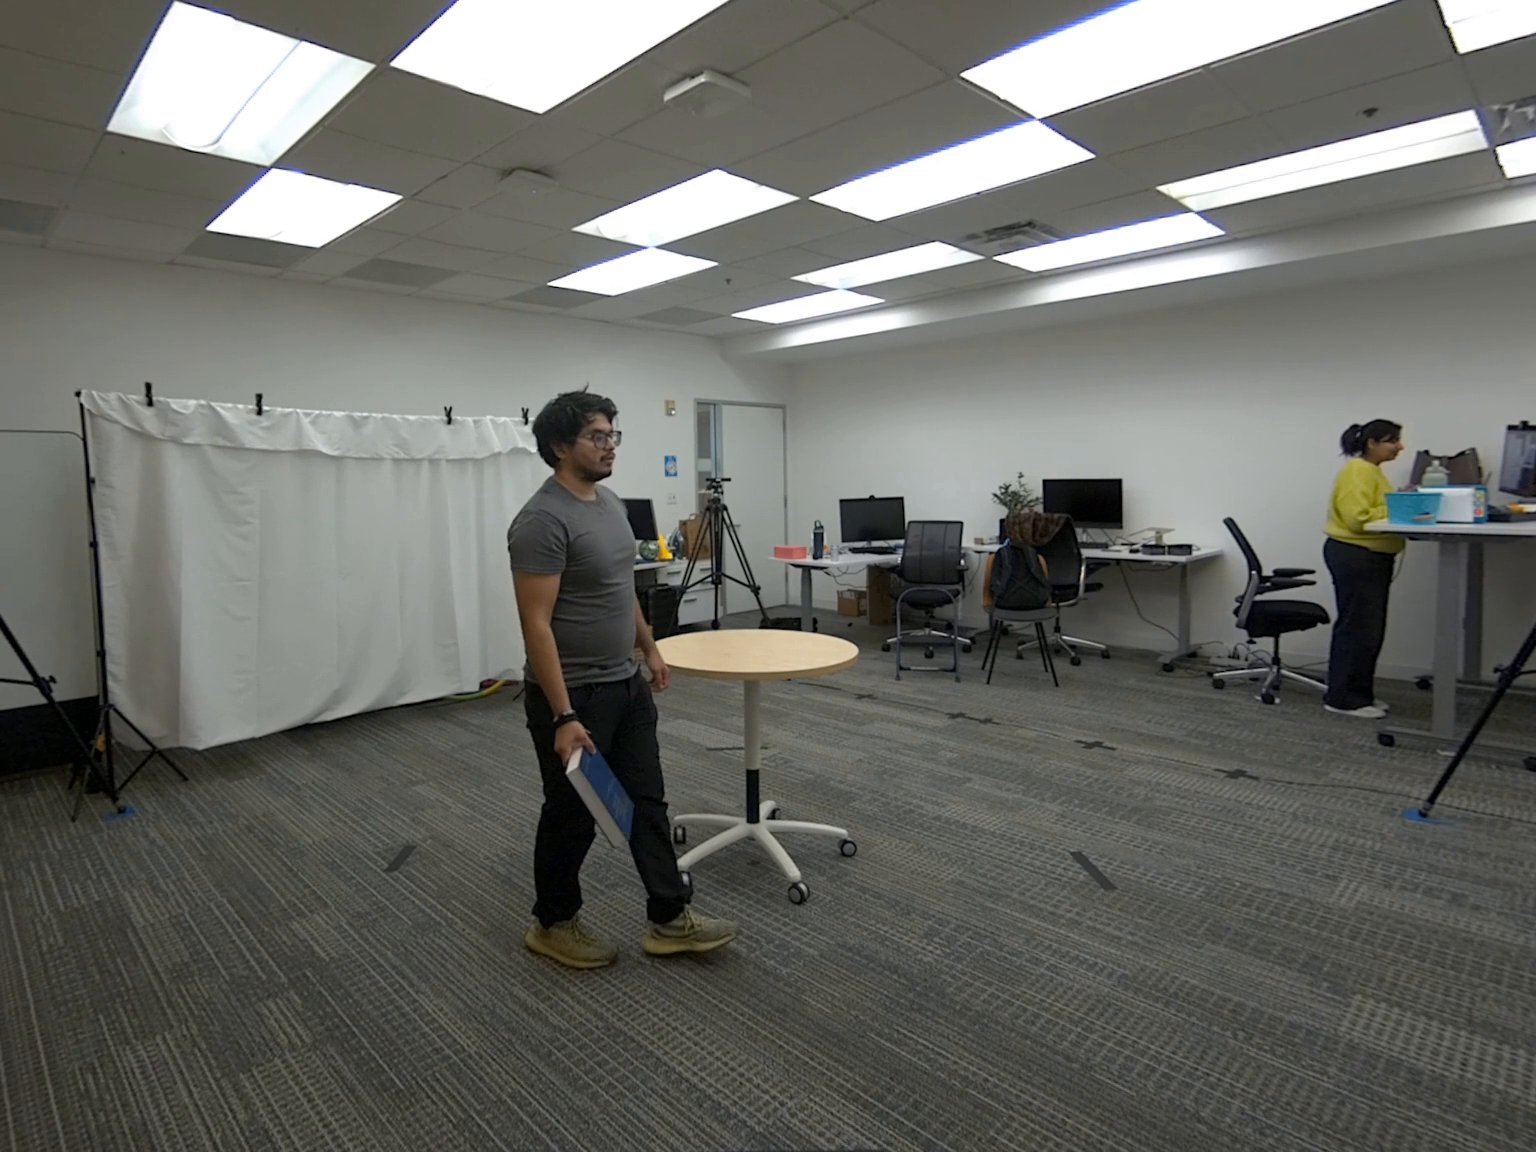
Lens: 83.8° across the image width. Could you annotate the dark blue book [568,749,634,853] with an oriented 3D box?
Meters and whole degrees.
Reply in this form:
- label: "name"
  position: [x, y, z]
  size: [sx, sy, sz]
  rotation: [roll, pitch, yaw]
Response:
- label: "dark blue book"
  position: [-0.420, 0.546, 2.175]
  size: [0.045, 0.240, 0.166]
  rotation: [-24, 17, 4]
